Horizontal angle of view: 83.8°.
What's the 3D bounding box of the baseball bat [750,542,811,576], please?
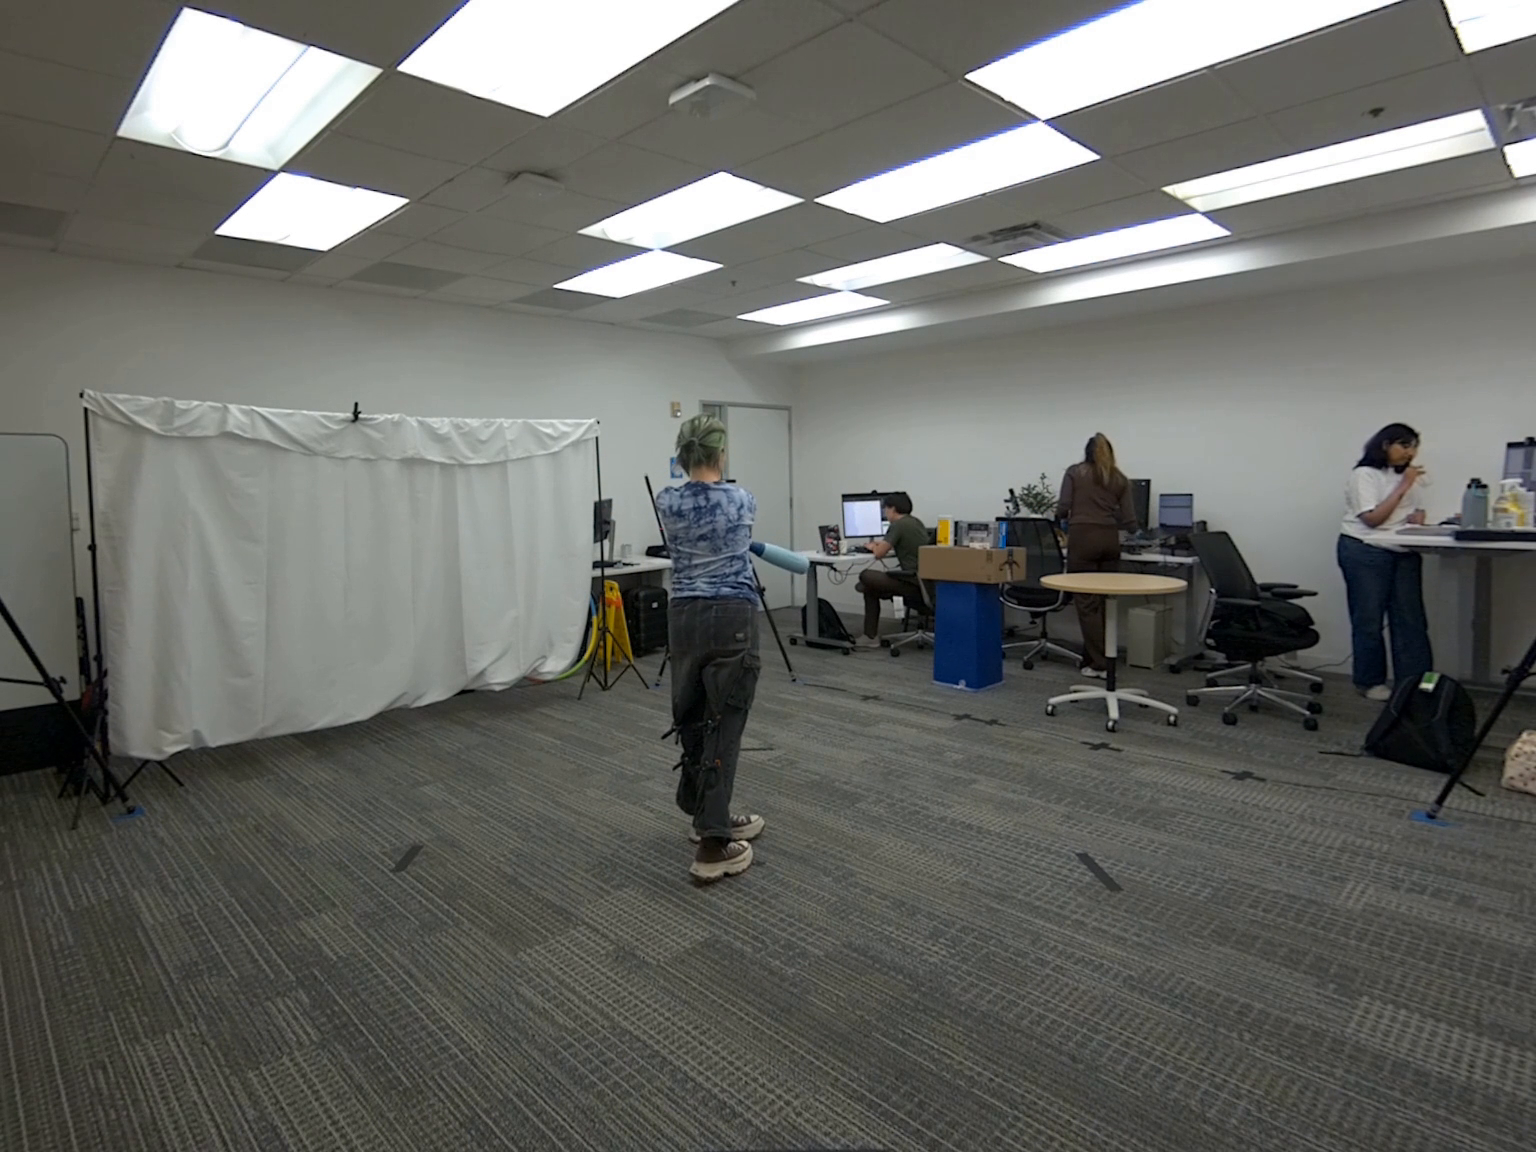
[{"bbox_3d":[-0.037,-0.122,3.878,0.529,0.089,0.091,20,-5,-24],"label":"baseball bat"}]
